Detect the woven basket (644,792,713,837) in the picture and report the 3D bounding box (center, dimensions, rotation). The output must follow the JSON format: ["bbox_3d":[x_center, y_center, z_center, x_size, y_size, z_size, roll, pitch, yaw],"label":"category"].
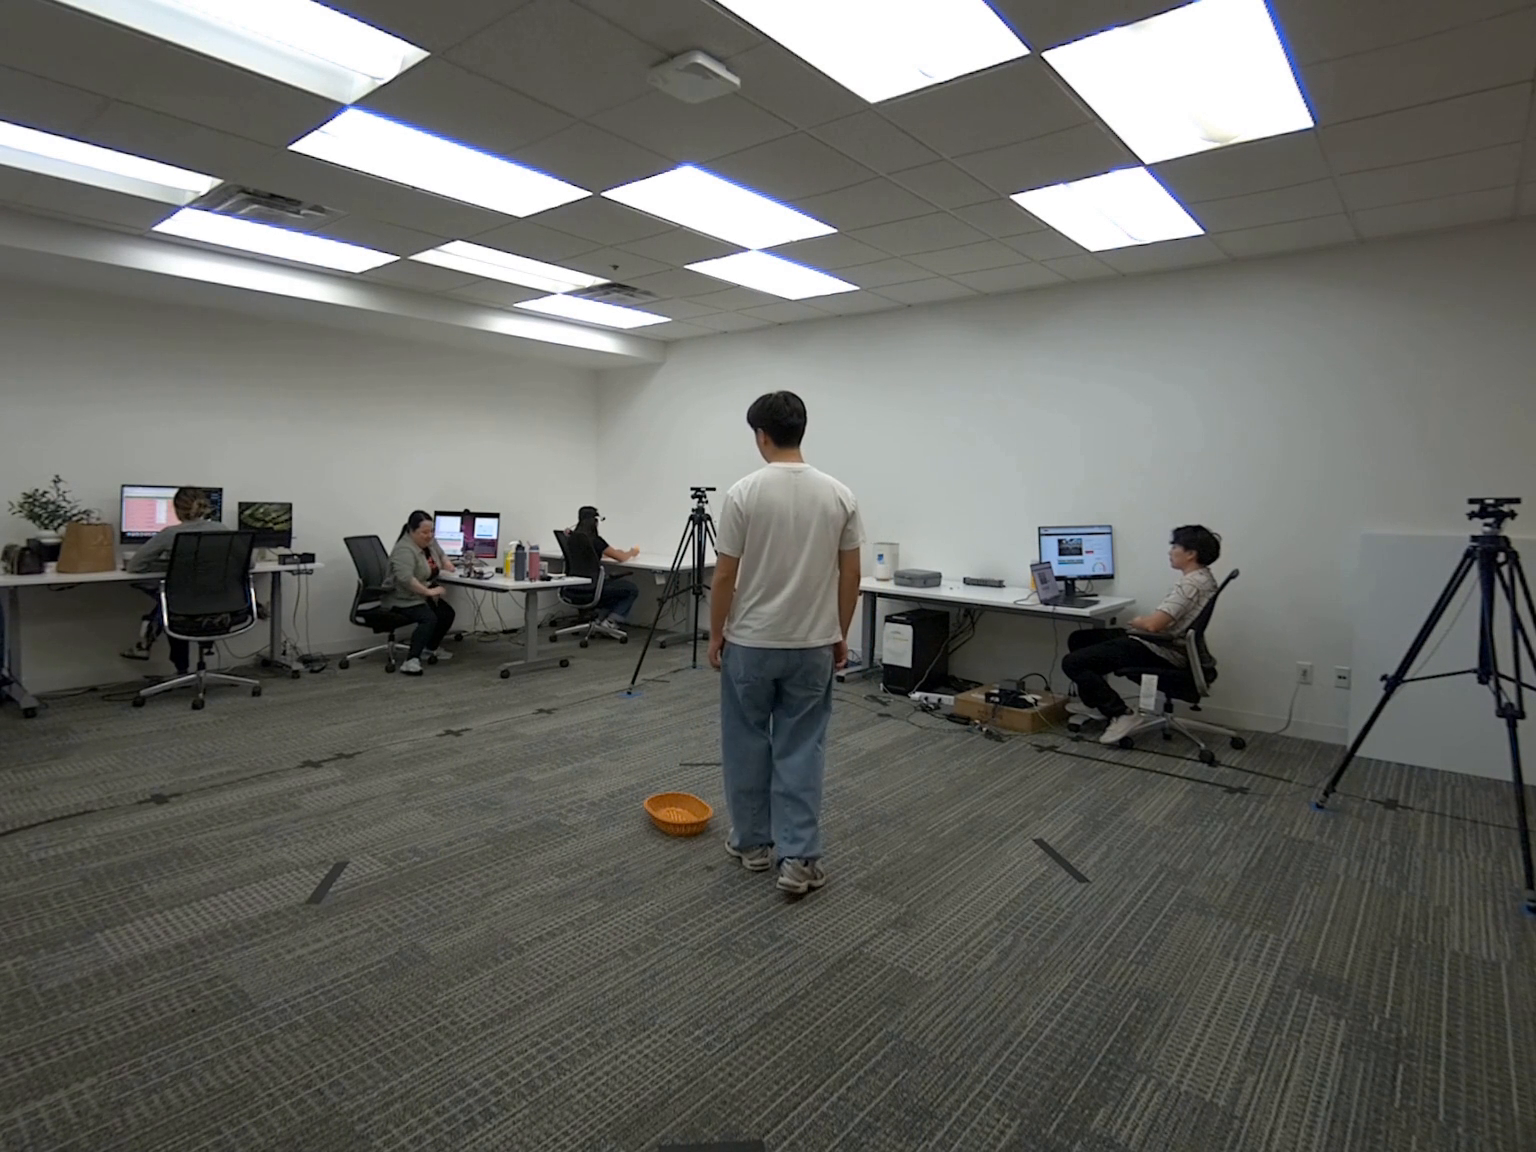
[{"bbox_3d":[-0.387,0.981,3.524,0.247,0.073,0.360,-3,7,-25],"label":"woven basket"}]
